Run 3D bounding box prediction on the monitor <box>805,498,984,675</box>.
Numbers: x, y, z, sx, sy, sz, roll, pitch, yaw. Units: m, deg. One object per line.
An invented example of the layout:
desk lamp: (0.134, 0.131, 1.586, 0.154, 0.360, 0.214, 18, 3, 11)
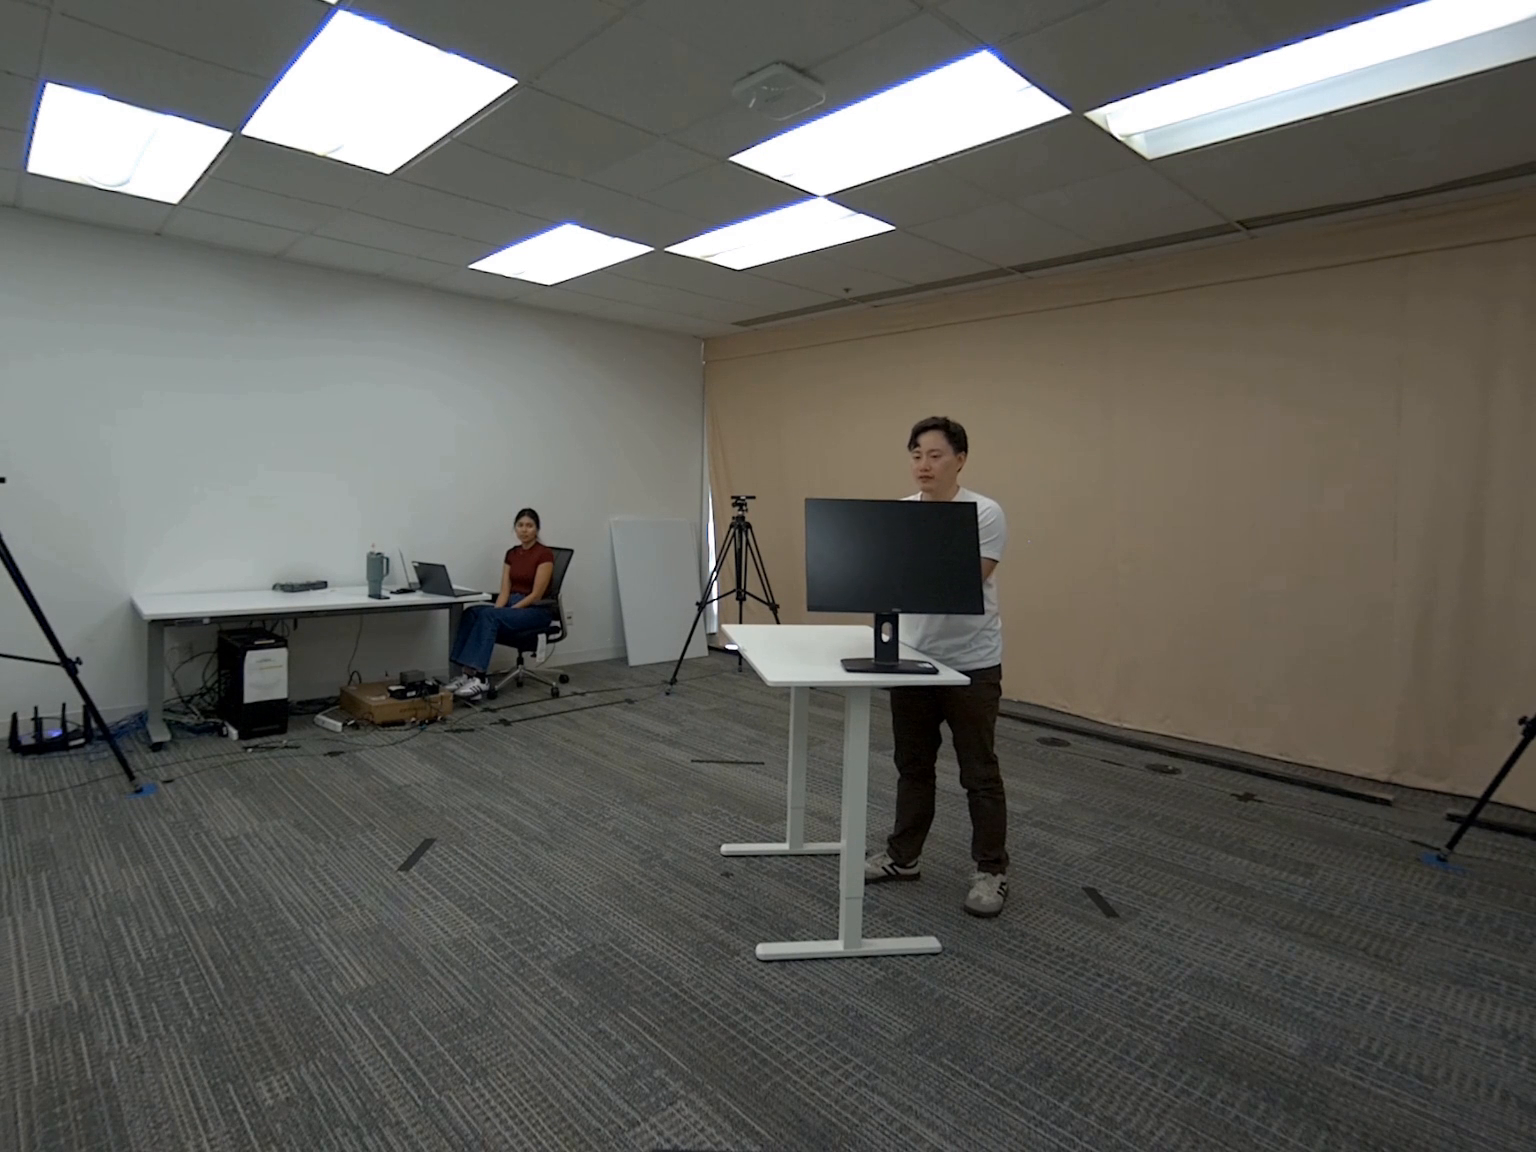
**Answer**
monitor: (0.371, 0.034, 2.572, 0.537, 0.523, 0.188, 1, 0, -5)
